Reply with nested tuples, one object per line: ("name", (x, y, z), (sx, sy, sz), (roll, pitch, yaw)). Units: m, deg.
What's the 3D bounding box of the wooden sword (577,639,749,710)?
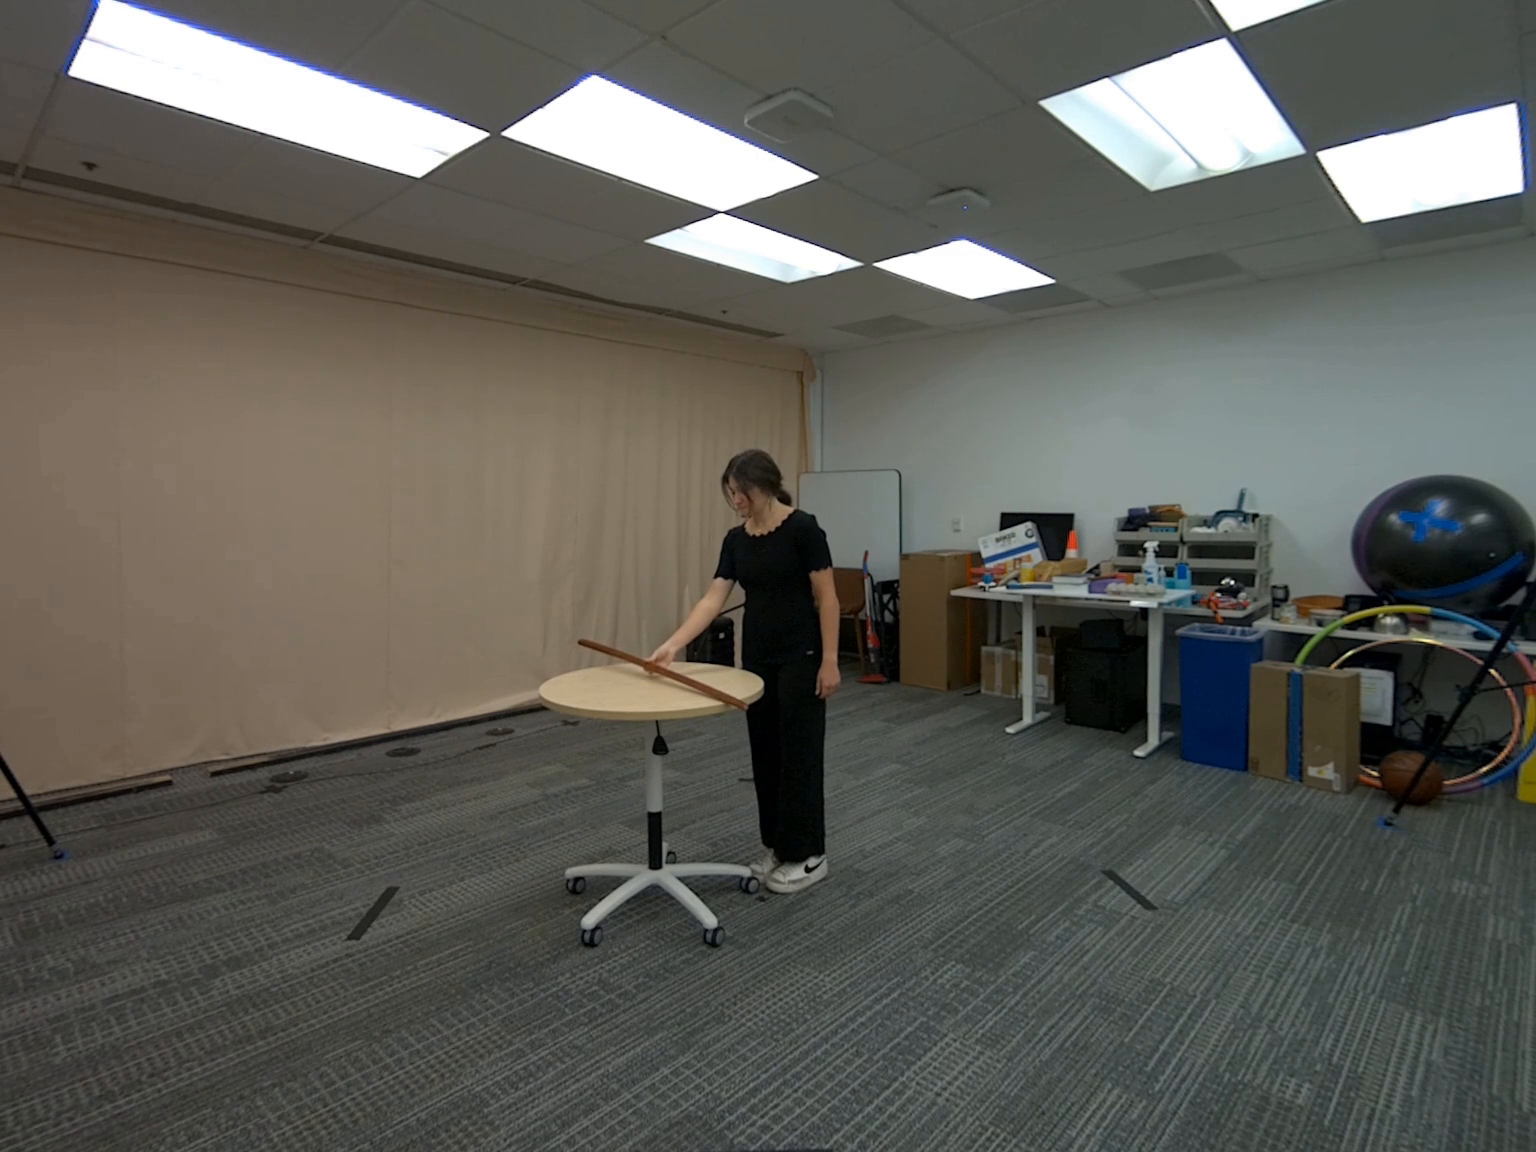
("wooden sword", (-0.400, 0.331, 2.880), (1.060, 0.050, 0.024), (9, 47, 50))
